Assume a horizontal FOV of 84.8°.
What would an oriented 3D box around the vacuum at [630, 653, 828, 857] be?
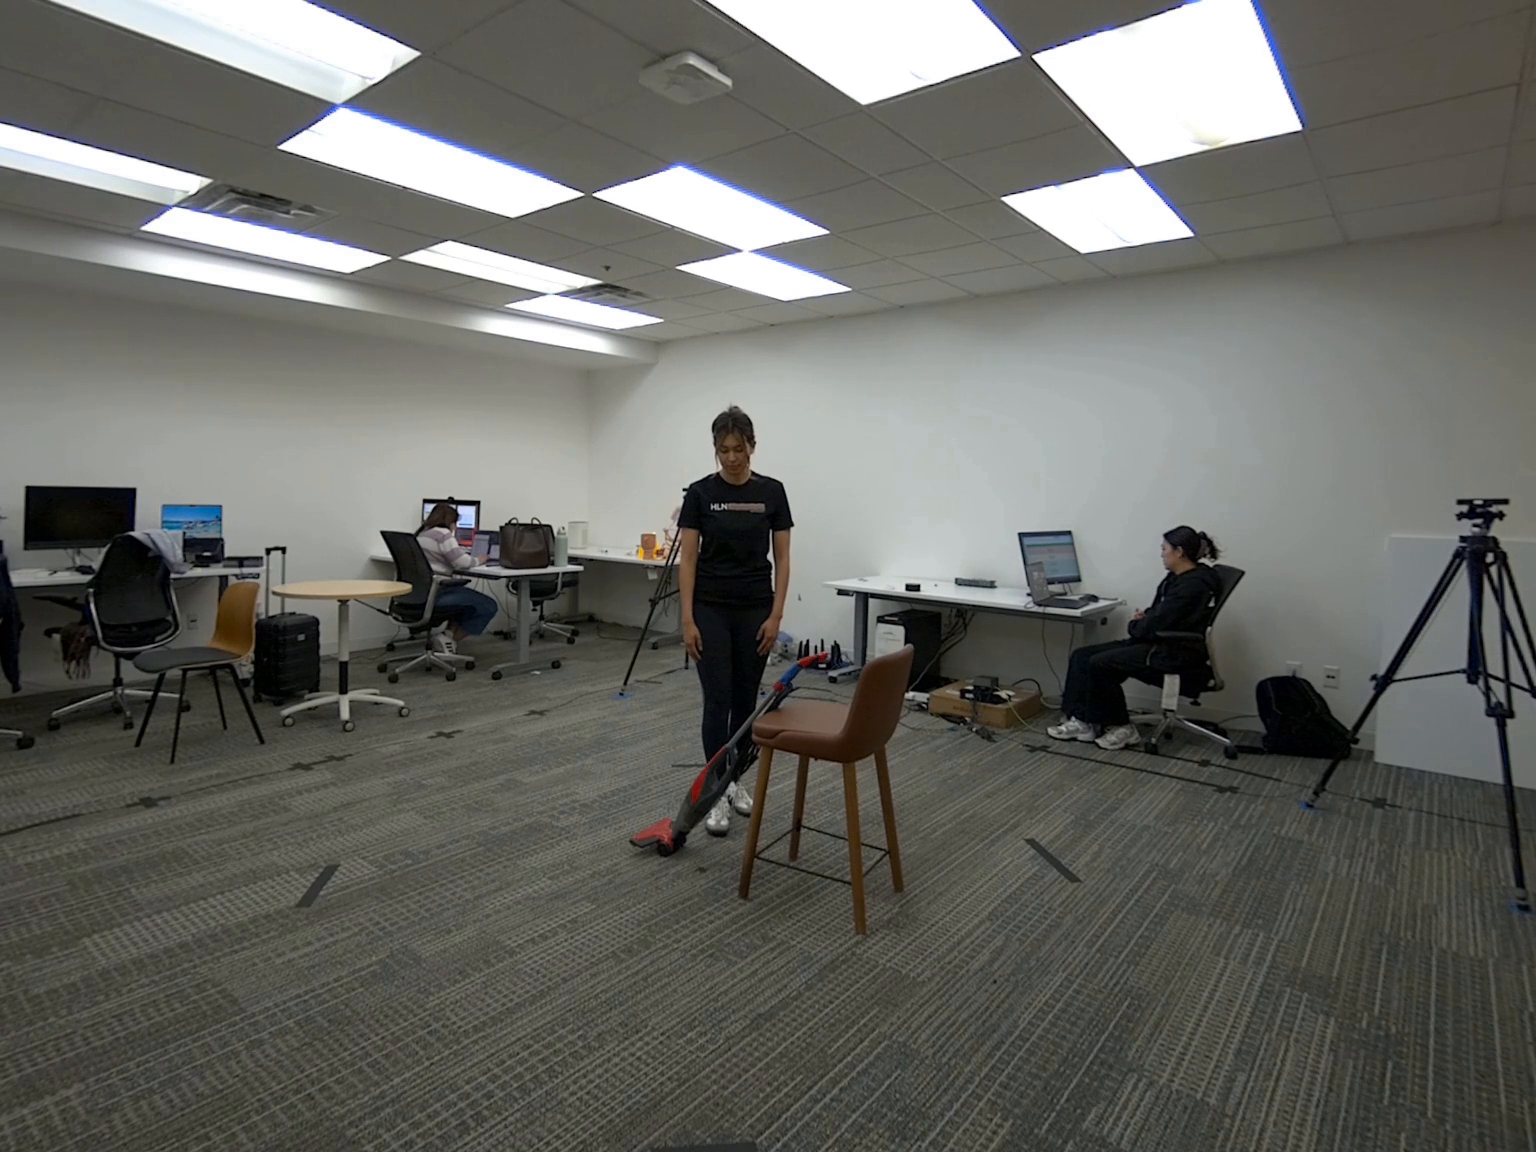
[{"bbox_3d":[-0.130,0.646,3.111,0.148,1.047,0.246,46,23,18],"label":"vacuum"}]
